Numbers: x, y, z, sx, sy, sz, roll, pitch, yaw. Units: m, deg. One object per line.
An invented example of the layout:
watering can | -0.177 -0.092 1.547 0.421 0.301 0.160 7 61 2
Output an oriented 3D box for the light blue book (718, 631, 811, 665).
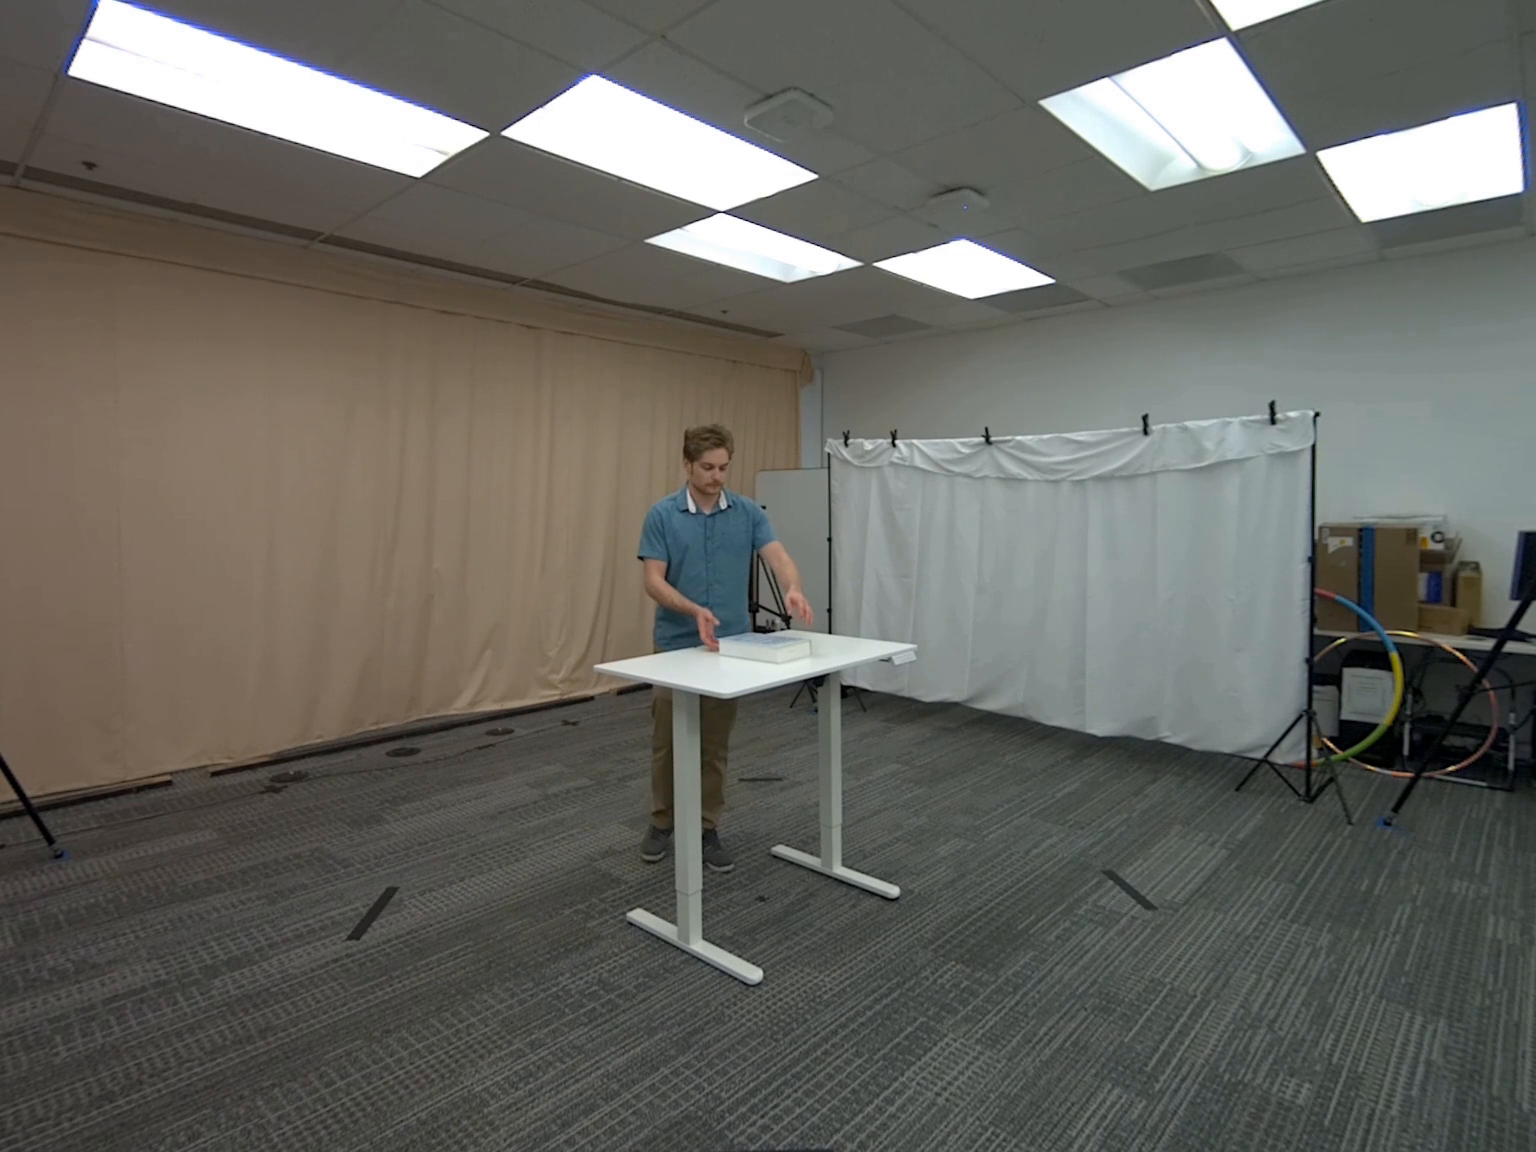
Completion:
light blue book | -0.013 0.242 2.862 0.270 0.059 0.185 4 6 40
